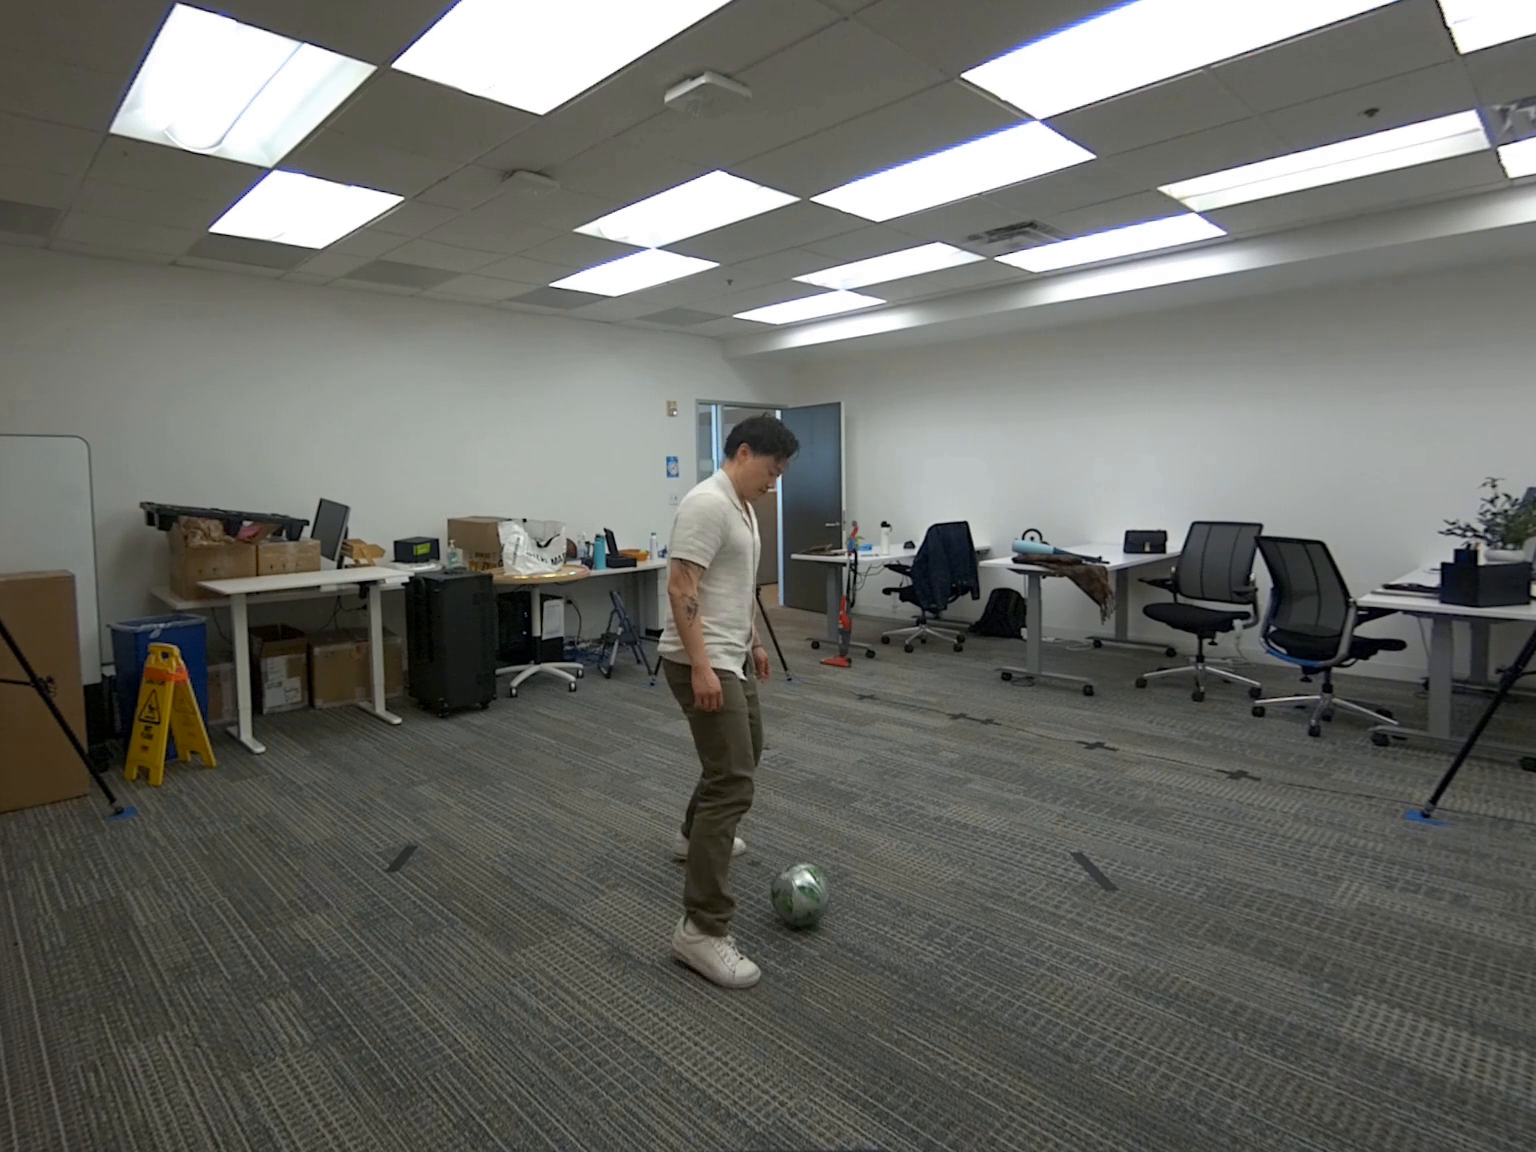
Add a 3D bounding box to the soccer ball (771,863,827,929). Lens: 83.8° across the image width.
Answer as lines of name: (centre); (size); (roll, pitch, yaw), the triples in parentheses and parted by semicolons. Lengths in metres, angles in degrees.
soccer ball: (0.103, 0.996, 2.678); (0.187, 0.187, 0.188); (-1, 5, -2)
